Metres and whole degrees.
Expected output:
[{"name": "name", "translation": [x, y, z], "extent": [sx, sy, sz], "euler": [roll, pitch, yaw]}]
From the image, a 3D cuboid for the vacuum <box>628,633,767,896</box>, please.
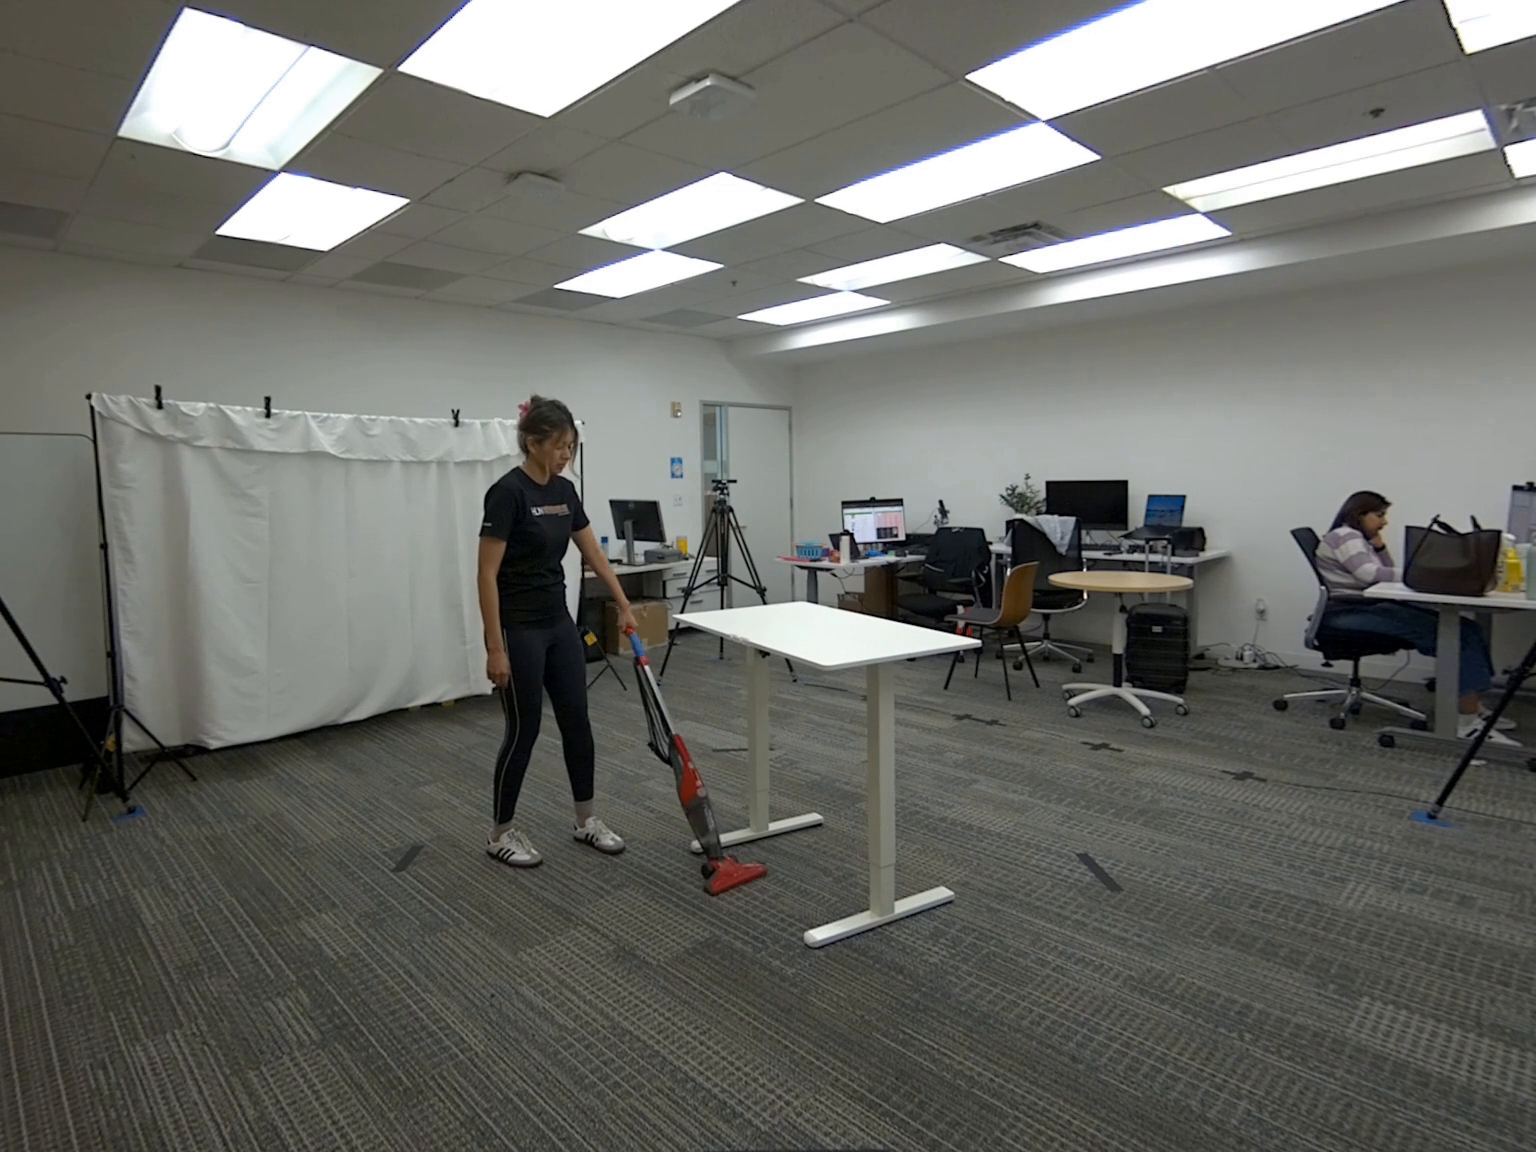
[{"name": "vacuum", "translation": [-0.364, 0.637, 3.215], "extent": [0.245, 1.081, 0.144], "euler": [5, -41, -48]}]
